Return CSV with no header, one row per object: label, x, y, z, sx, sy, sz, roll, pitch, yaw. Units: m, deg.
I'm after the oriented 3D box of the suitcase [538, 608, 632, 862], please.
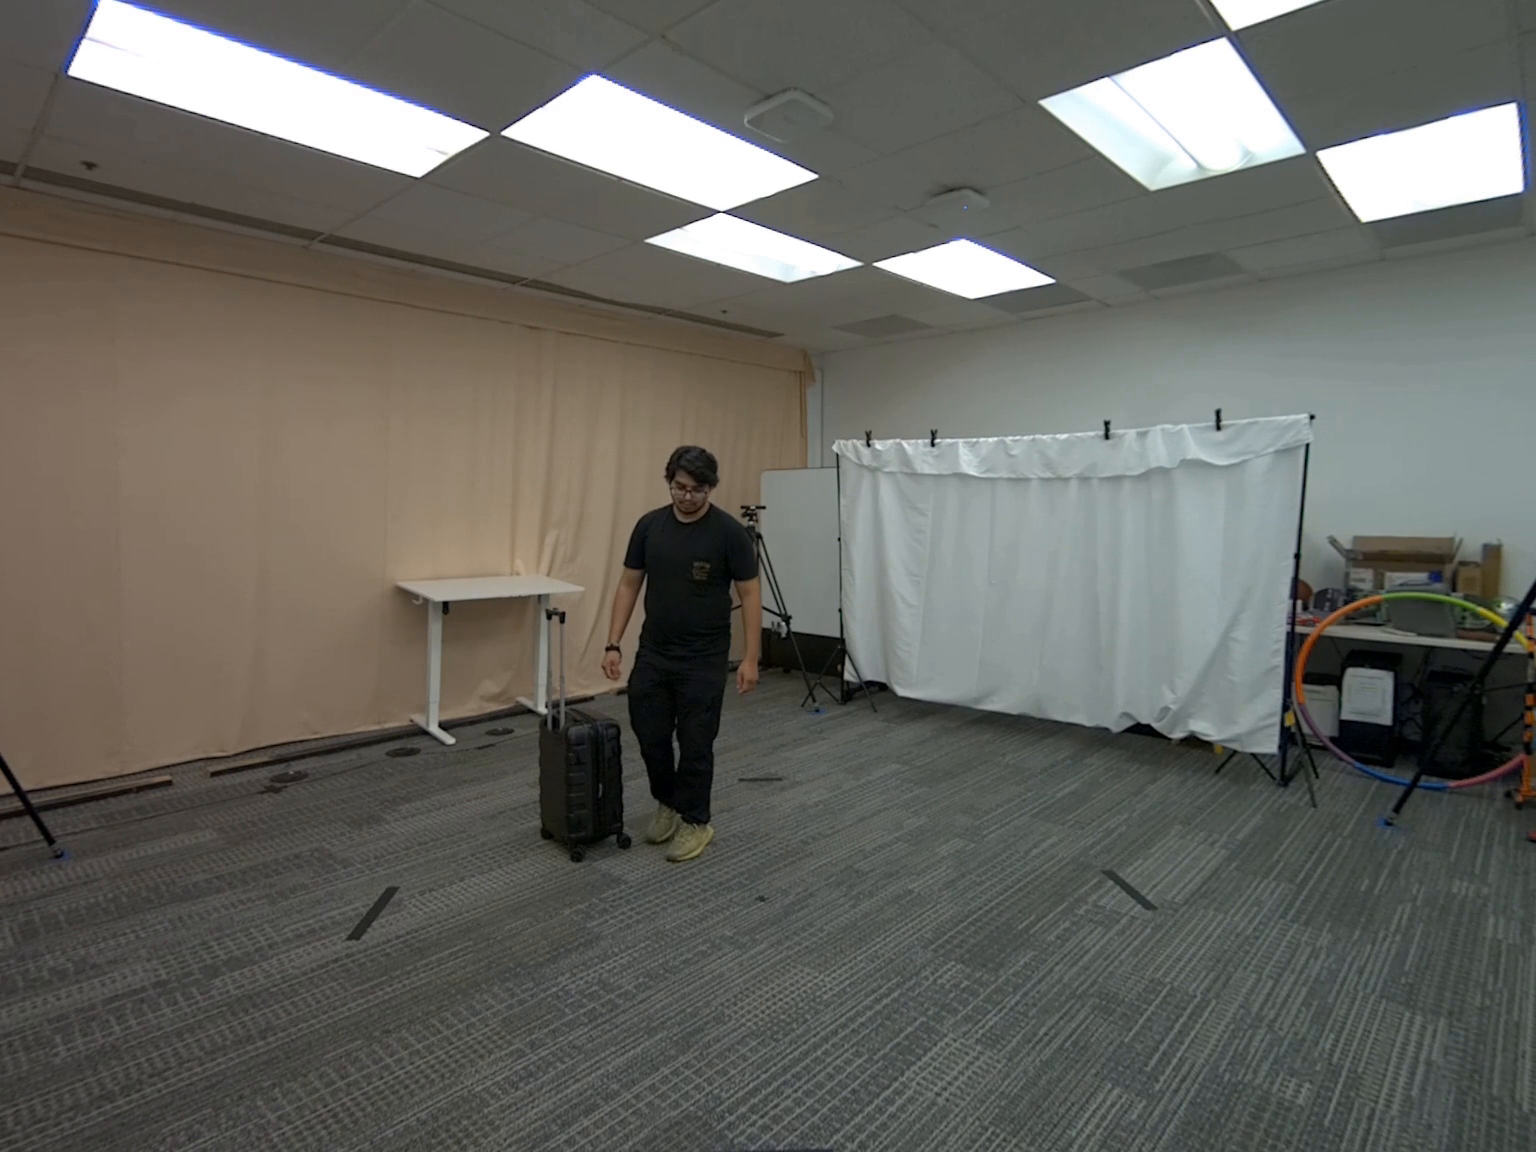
suitcase,-0.786,0.630,3.491,0.249,0.977,0.396,-2,2,-36
